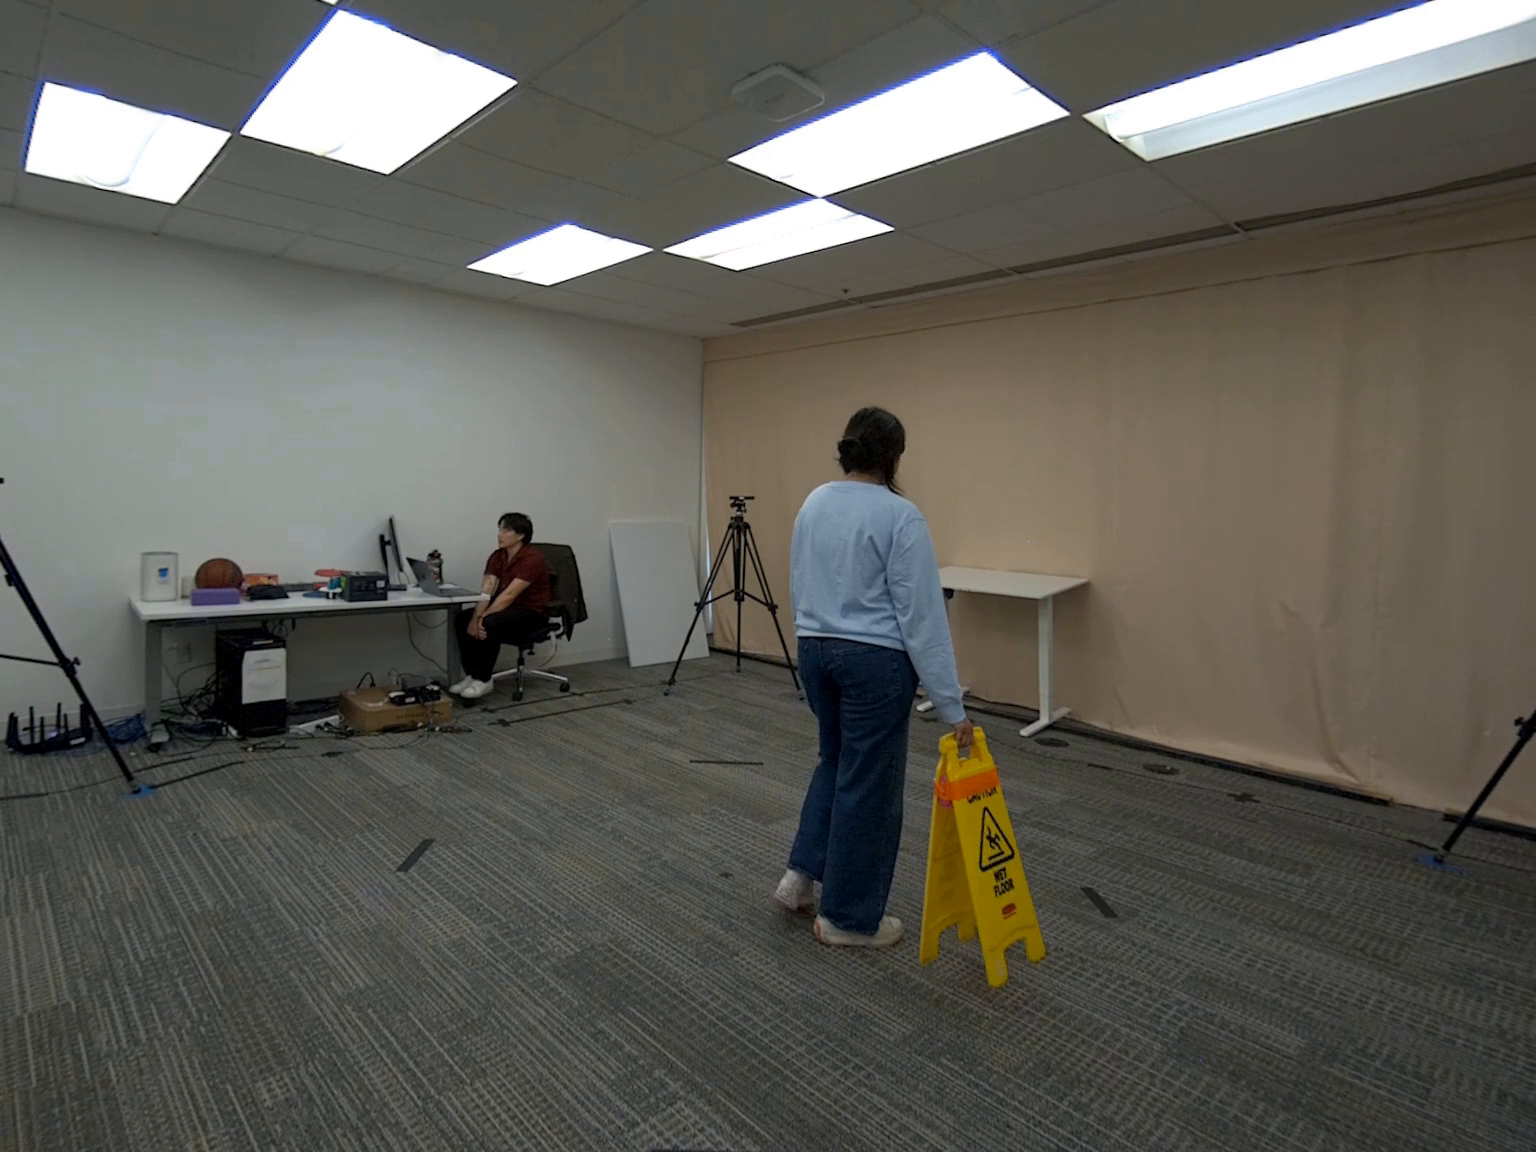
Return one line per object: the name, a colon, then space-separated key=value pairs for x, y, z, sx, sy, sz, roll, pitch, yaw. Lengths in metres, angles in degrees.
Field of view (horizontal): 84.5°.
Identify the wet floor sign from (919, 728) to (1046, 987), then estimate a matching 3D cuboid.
wet floor sign: x=0.579 y=0.781 z=2.442 sx=0.275 sy=0.648 sz=0.295 roll=0 pitch=-5 yaw=-44
